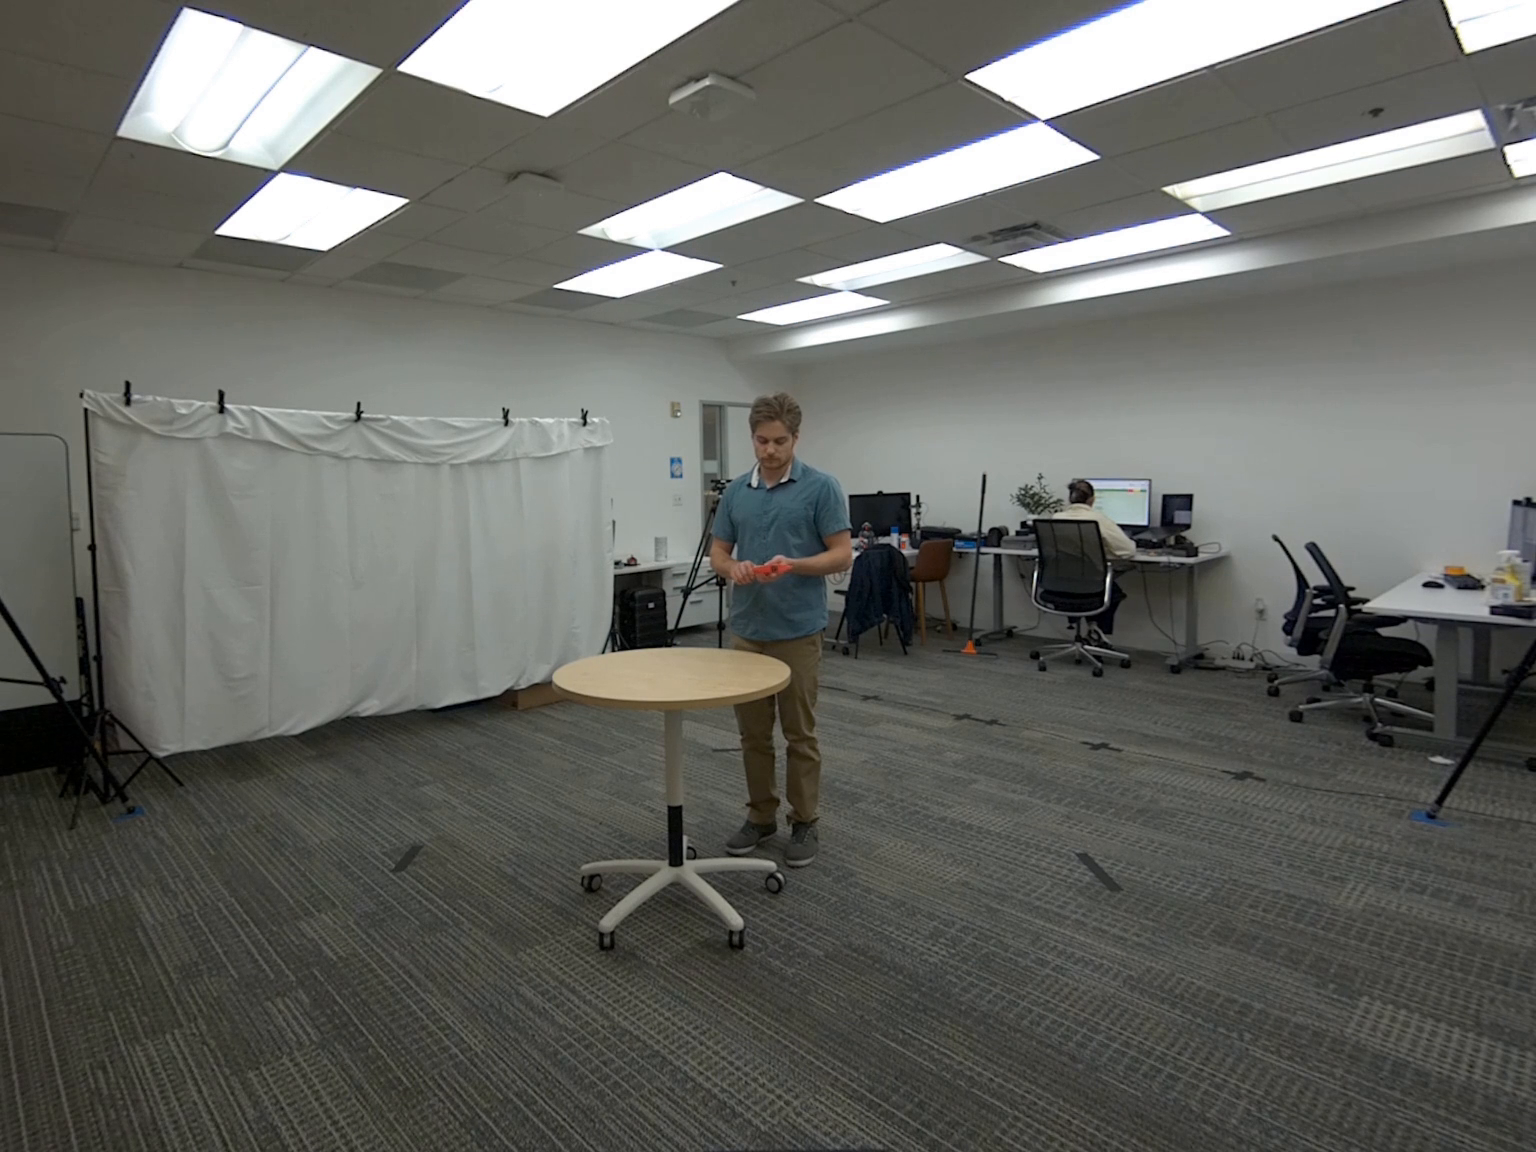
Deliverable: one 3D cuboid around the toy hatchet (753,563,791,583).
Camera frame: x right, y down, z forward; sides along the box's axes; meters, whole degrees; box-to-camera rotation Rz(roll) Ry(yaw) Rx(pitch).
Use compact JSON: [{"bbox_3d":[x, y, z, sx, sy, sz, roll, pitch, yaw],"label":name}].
[{"bbox_3d":[-0.027,-0.009,2.887,0.128,0.030,0.274,-2,-6,-26],"label":"toy hatchet"}]
